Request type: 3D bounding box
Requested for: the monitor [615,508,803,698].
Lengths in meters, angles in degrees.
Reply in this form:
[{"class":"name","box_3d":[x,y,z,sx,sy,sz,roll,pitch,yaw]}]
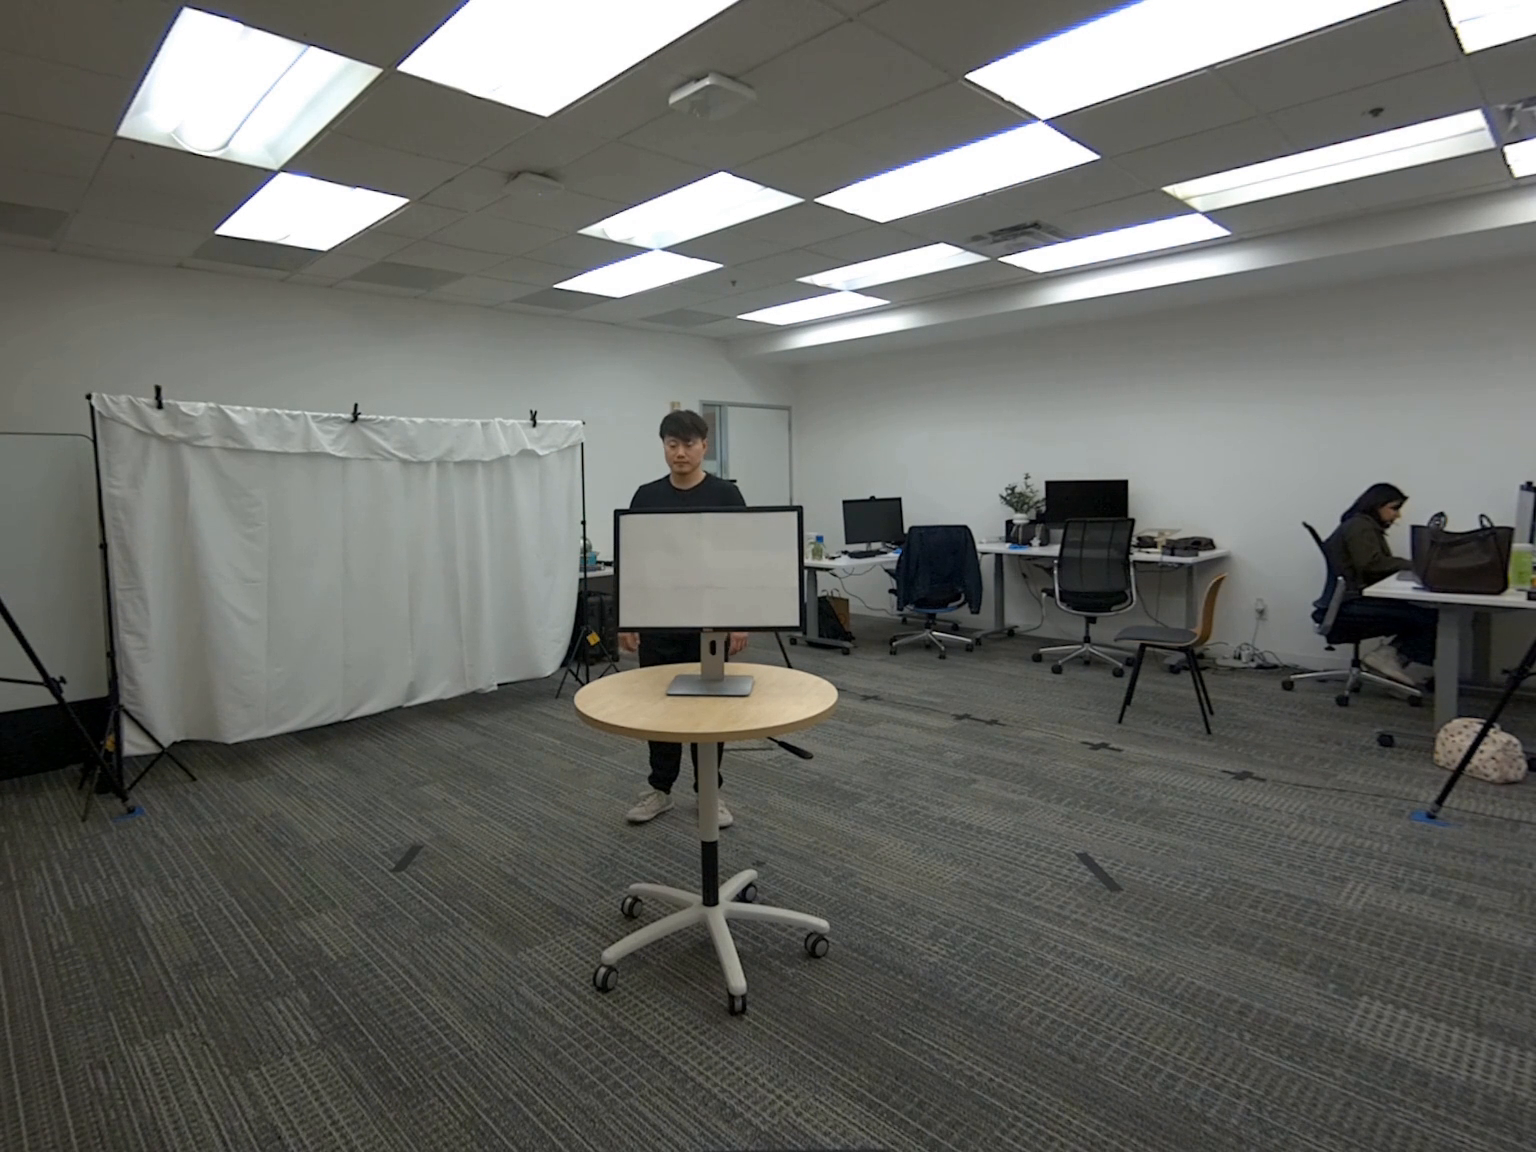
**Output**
[{"class":"monitor","box_3d":[-0.174,0.076,2.536,0.541,0.520,0.187,-1,6,3]}]
